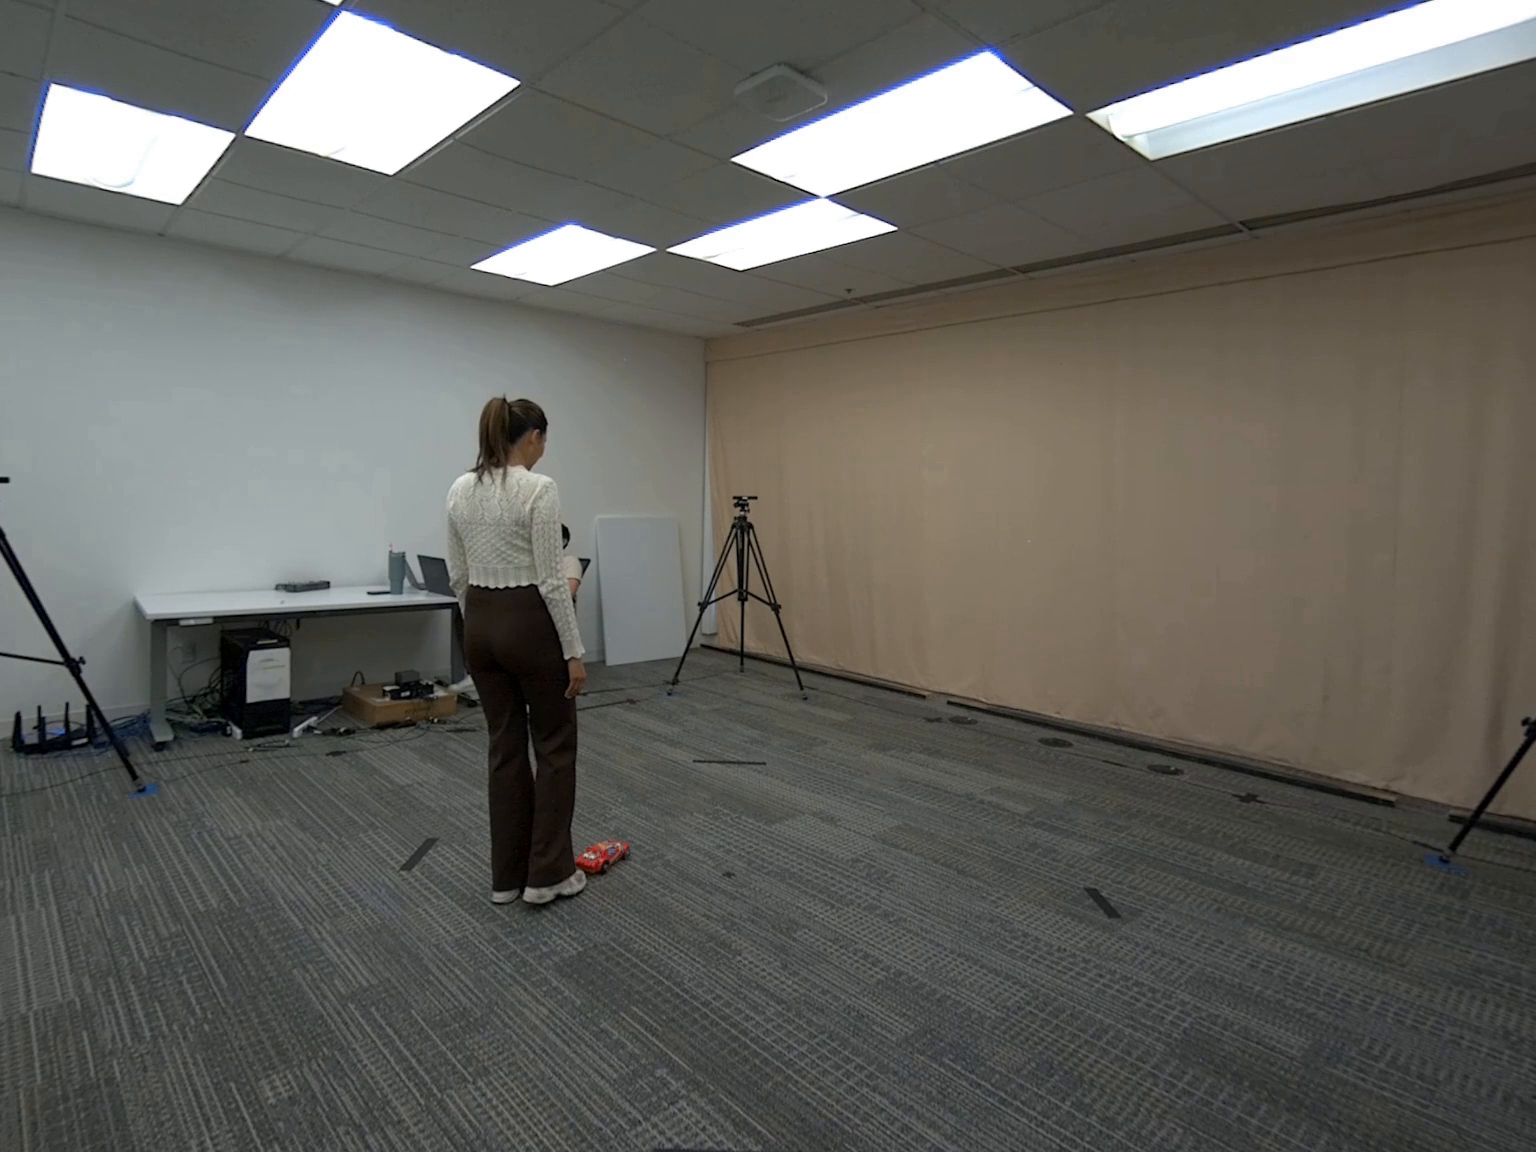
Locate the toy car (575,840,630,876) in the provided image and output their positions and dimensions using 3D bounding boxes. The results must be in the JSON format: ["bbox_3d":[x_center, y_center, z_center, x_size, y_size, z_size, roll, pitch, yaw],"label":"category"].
[{"bbox_3d":[-0.633,1.057,3.154,0.133,0.083,0.248,4,-6,25],"label":"toy car"}]
